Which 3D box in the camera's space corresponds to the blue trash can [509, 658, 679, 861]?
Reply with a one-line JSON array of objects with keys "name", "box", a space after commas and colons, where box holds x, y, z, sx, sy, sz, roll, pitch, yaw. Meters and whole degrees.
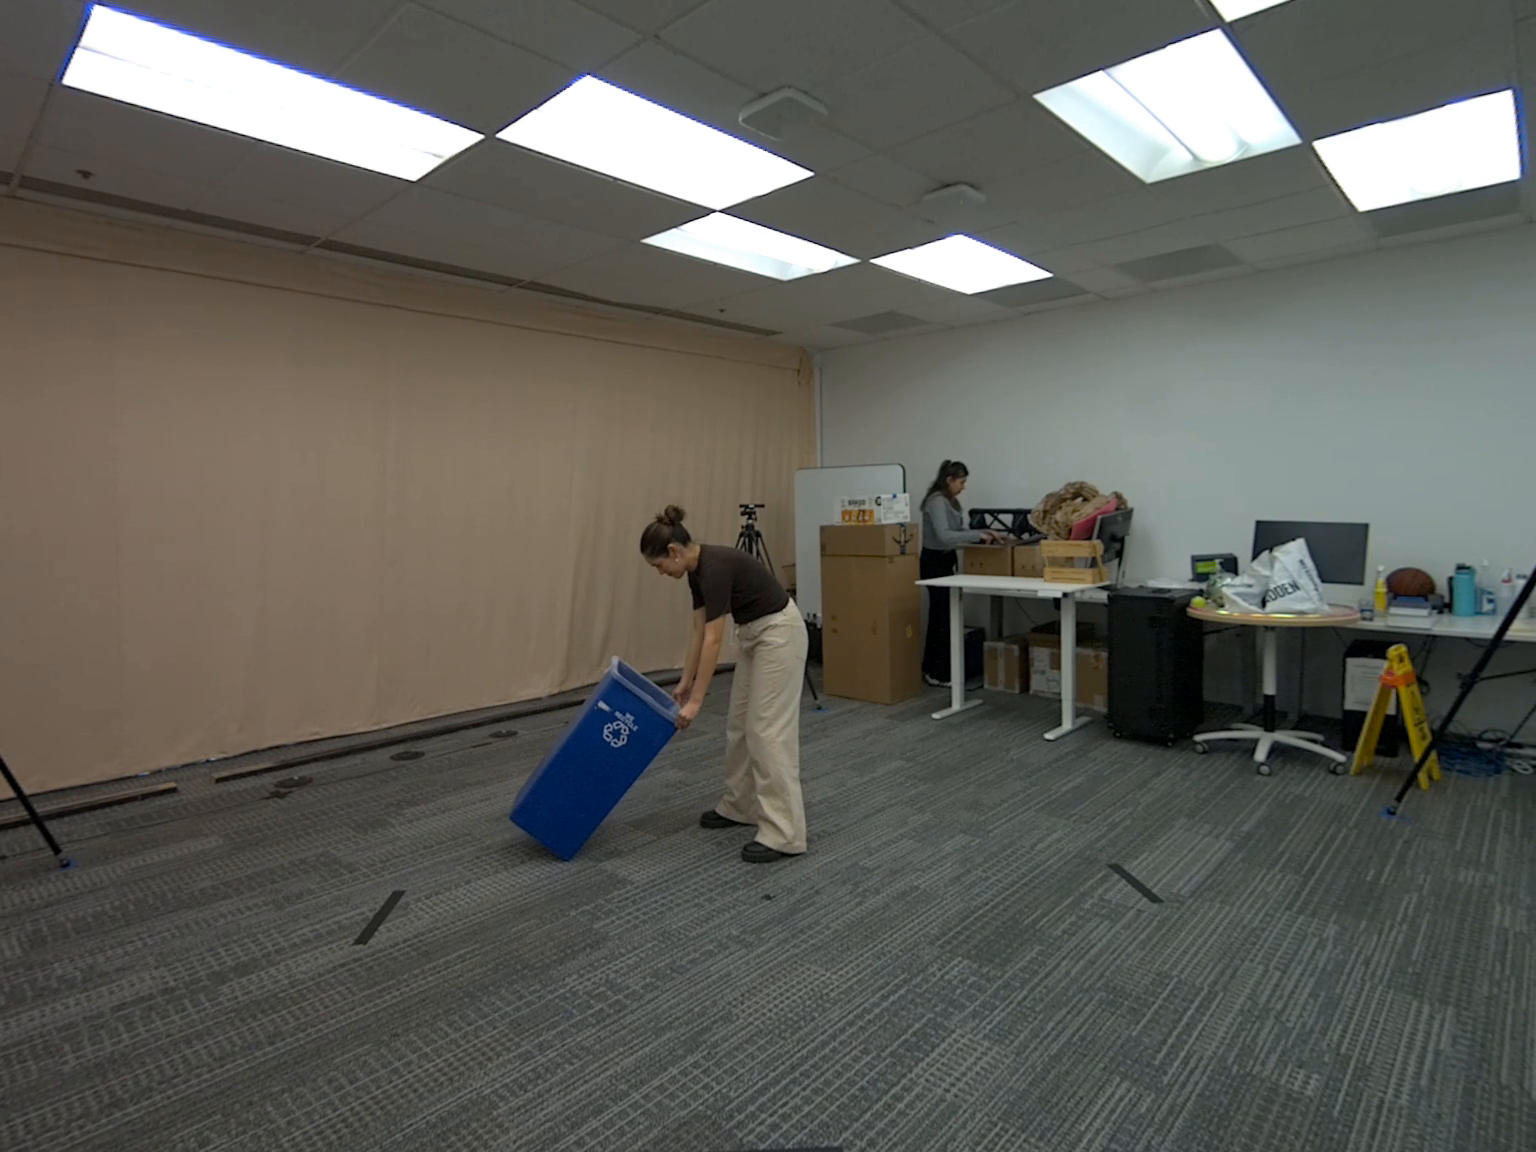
[{"name": "blue trash can", "box": [-0.699, 0.753, 3.458, 0.371, 0.713, 0.382, 37, -1, -8]}]
